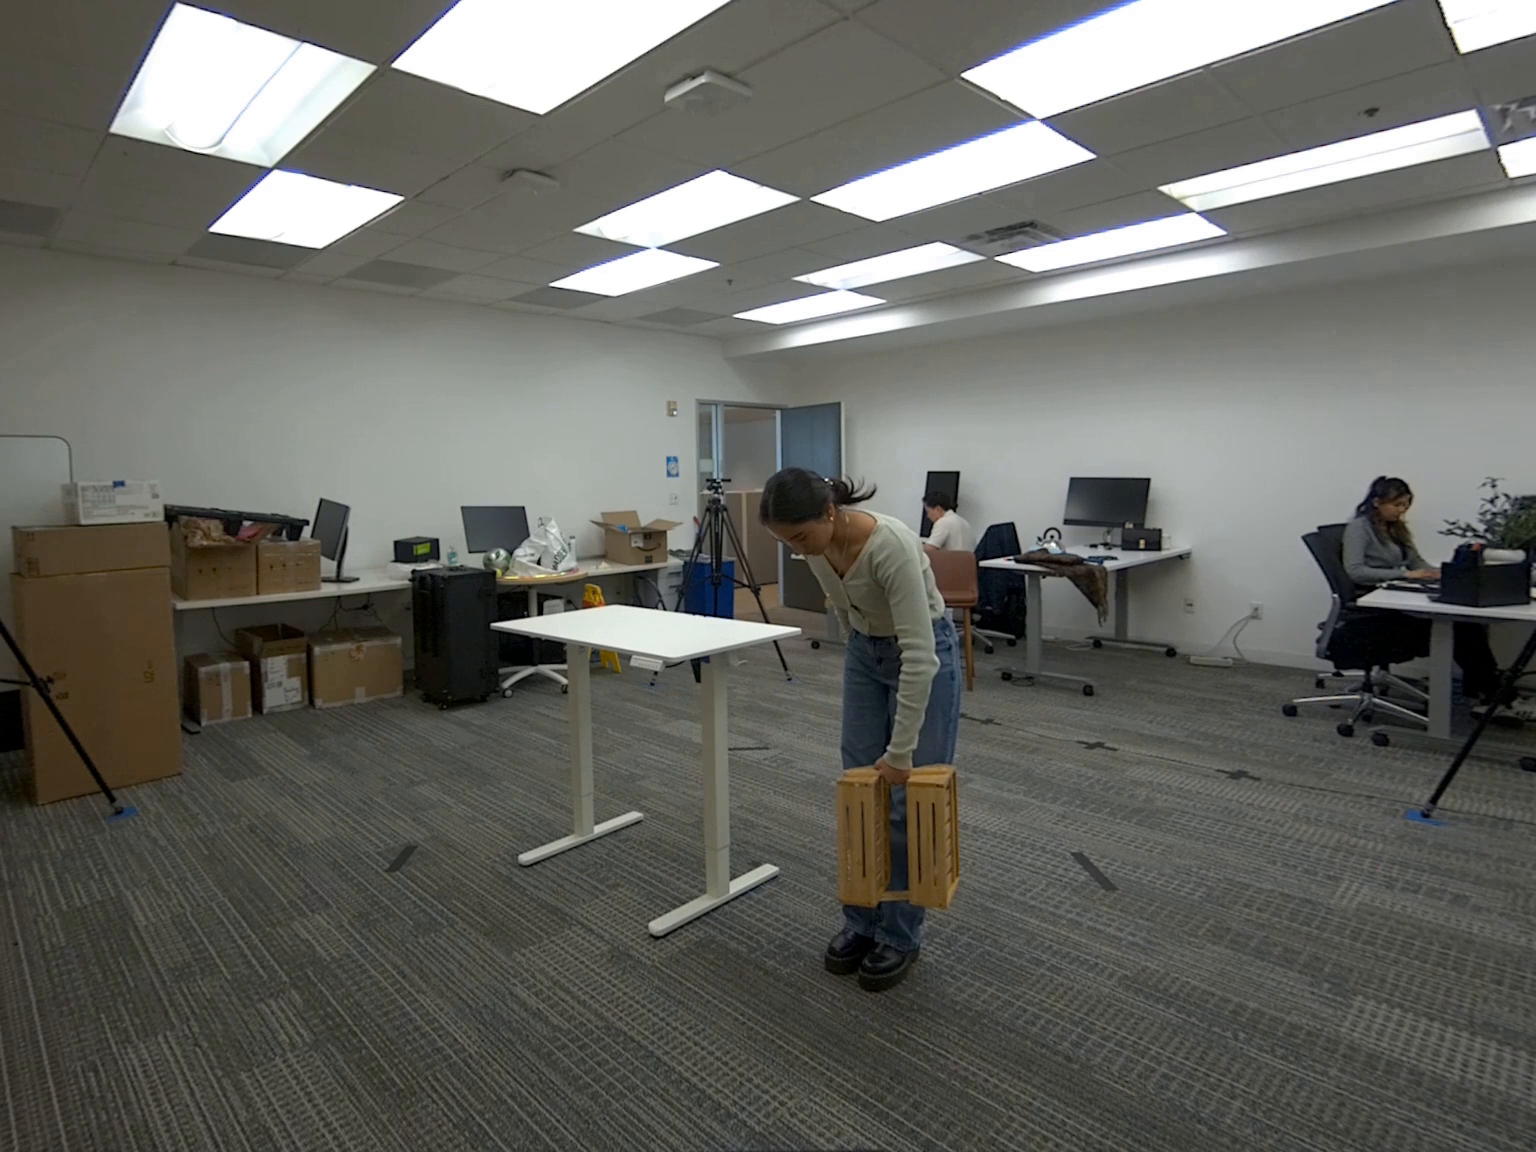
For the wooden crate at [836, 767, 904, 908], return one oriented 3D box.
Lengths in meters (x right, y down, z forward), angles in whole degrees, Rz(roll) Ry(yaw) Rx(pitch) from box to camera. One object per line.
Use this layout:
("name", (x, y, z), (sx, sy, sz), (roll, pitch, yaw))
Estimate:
("wooden crate", (0.355, 0.673, 2.237), (0.278, 0.325, 0.295), (-1, -3, 20))
